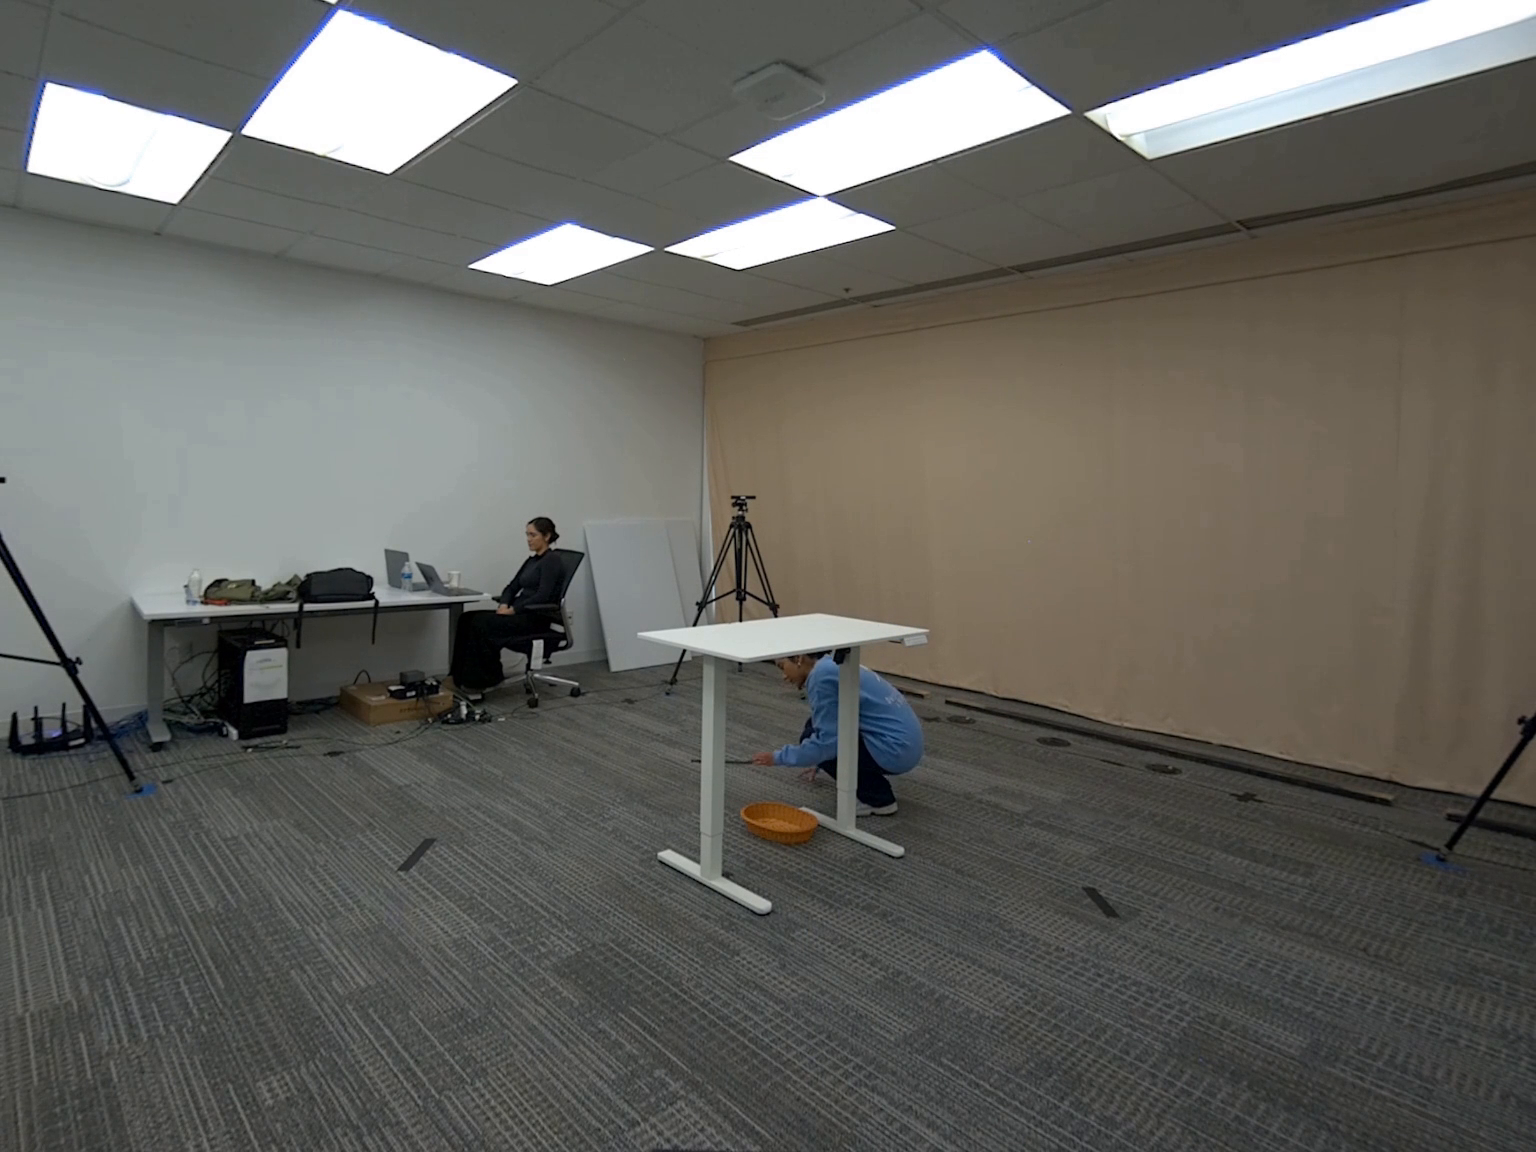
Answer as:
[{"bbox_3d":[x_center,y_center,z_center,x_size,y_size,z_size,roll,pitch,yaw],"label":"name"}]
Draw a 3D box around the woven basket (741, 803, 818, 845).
[{"bbox_3d":[0.038,1.028,3.511,0.359,0.073,0.247,5,8,41],"label":"woven basket"}]
